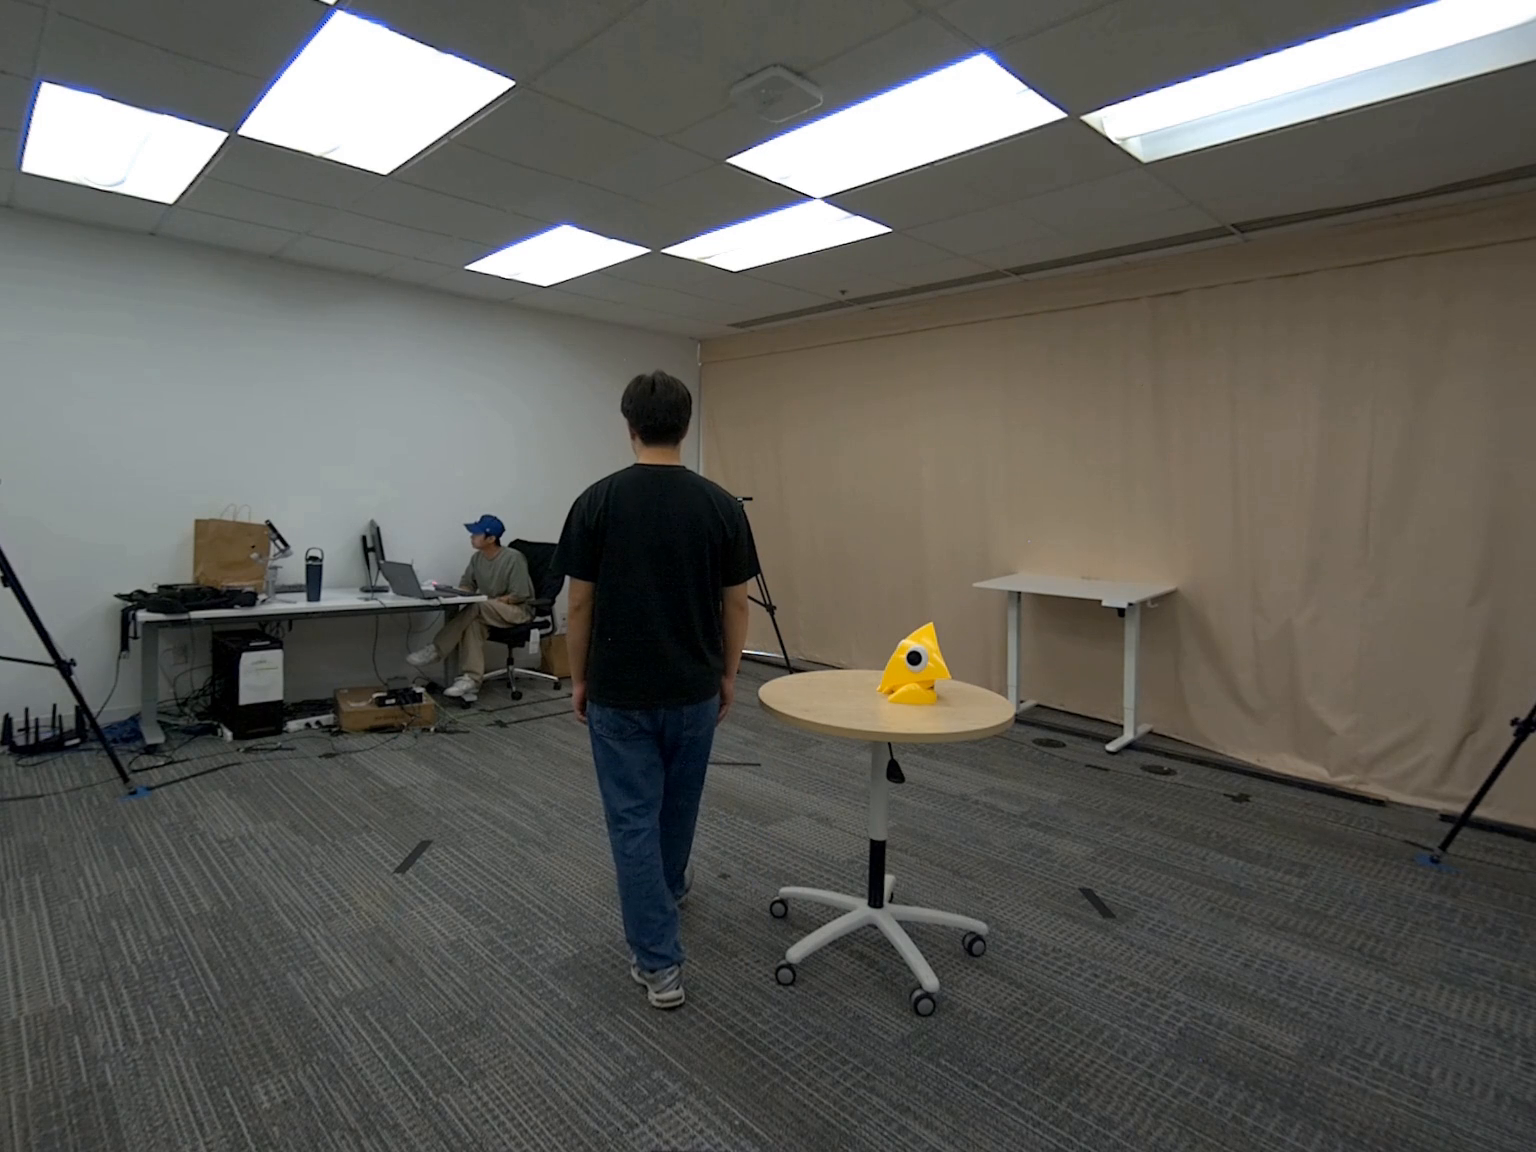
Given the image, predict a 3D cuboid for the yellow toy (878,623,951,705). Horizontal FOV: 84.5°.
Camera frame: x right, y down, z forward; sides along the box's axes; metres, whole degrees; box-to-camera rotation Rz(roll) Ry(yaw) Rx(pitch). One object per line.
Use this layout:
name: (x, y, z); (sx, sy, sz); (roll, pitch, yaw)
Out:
yellow toy: (0.439, 0.258, 2.590); (0.192, 0.230, 0.206); (2, 5, -7)
